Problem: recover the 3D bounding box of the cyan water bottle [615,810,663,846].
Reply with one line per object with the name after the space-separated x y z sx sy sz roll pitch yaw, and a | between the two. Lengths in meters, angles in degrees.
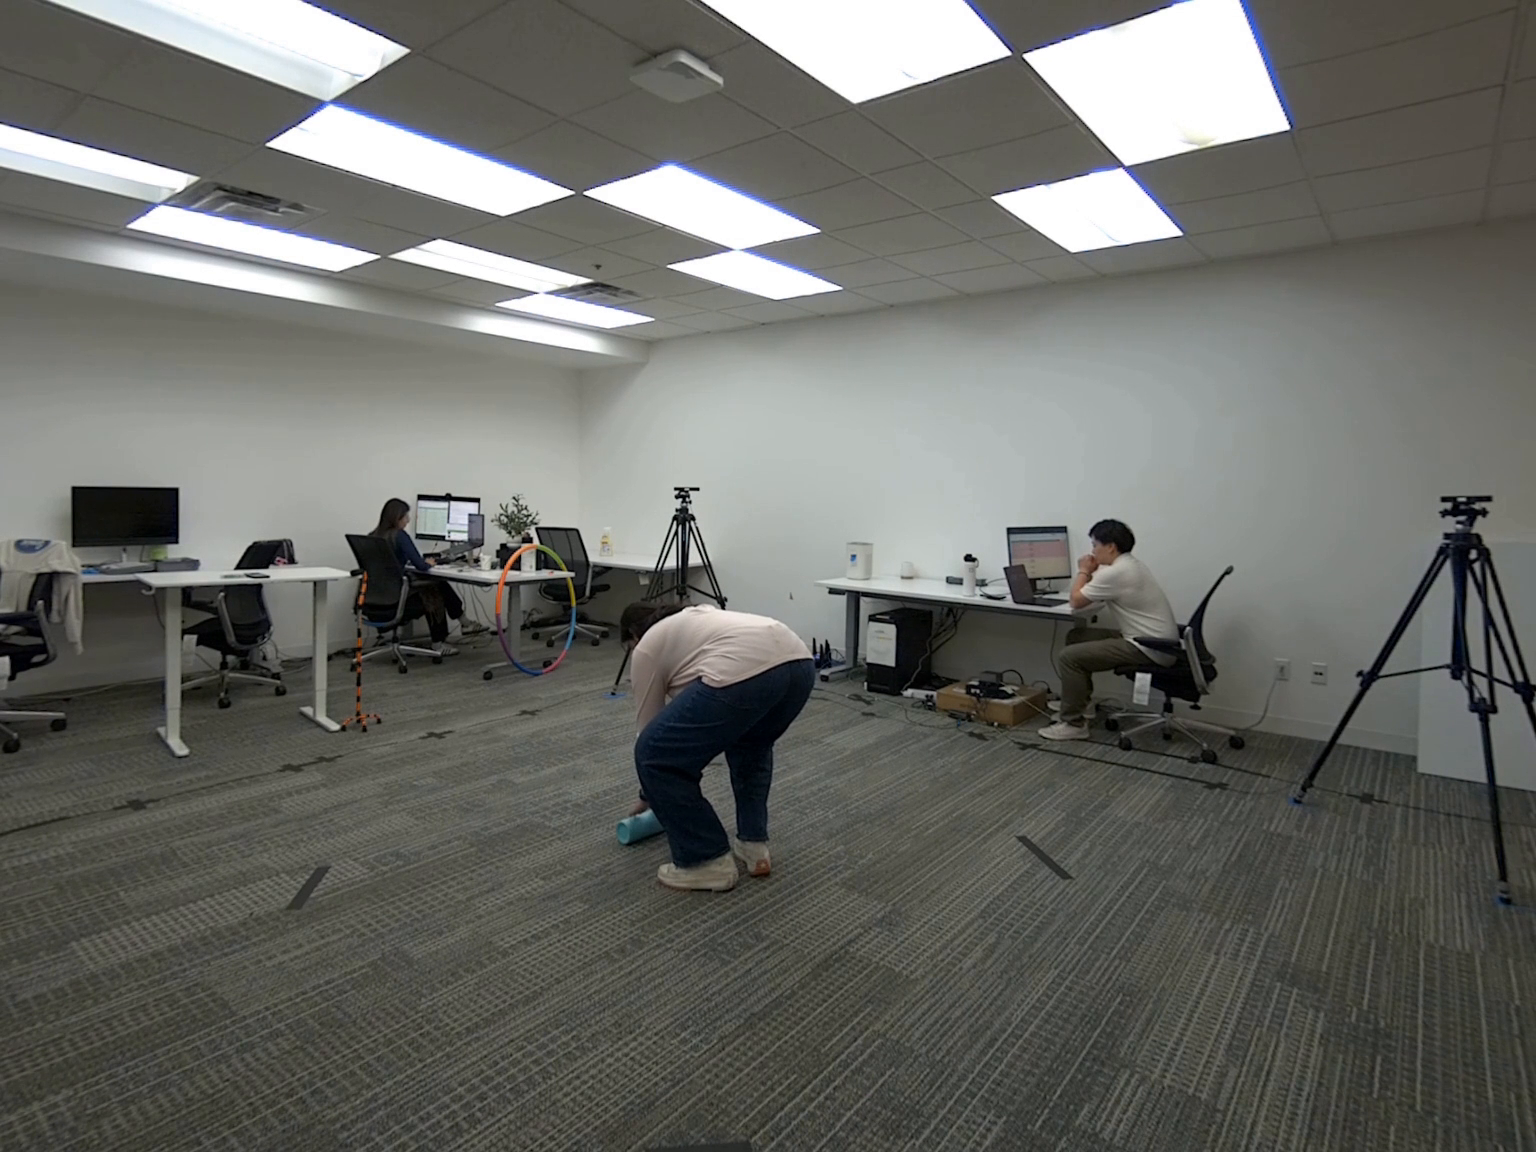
-0.486 0.982 3.401 0.095 0.092 0.275 4 6 41 | cyan water bottle
